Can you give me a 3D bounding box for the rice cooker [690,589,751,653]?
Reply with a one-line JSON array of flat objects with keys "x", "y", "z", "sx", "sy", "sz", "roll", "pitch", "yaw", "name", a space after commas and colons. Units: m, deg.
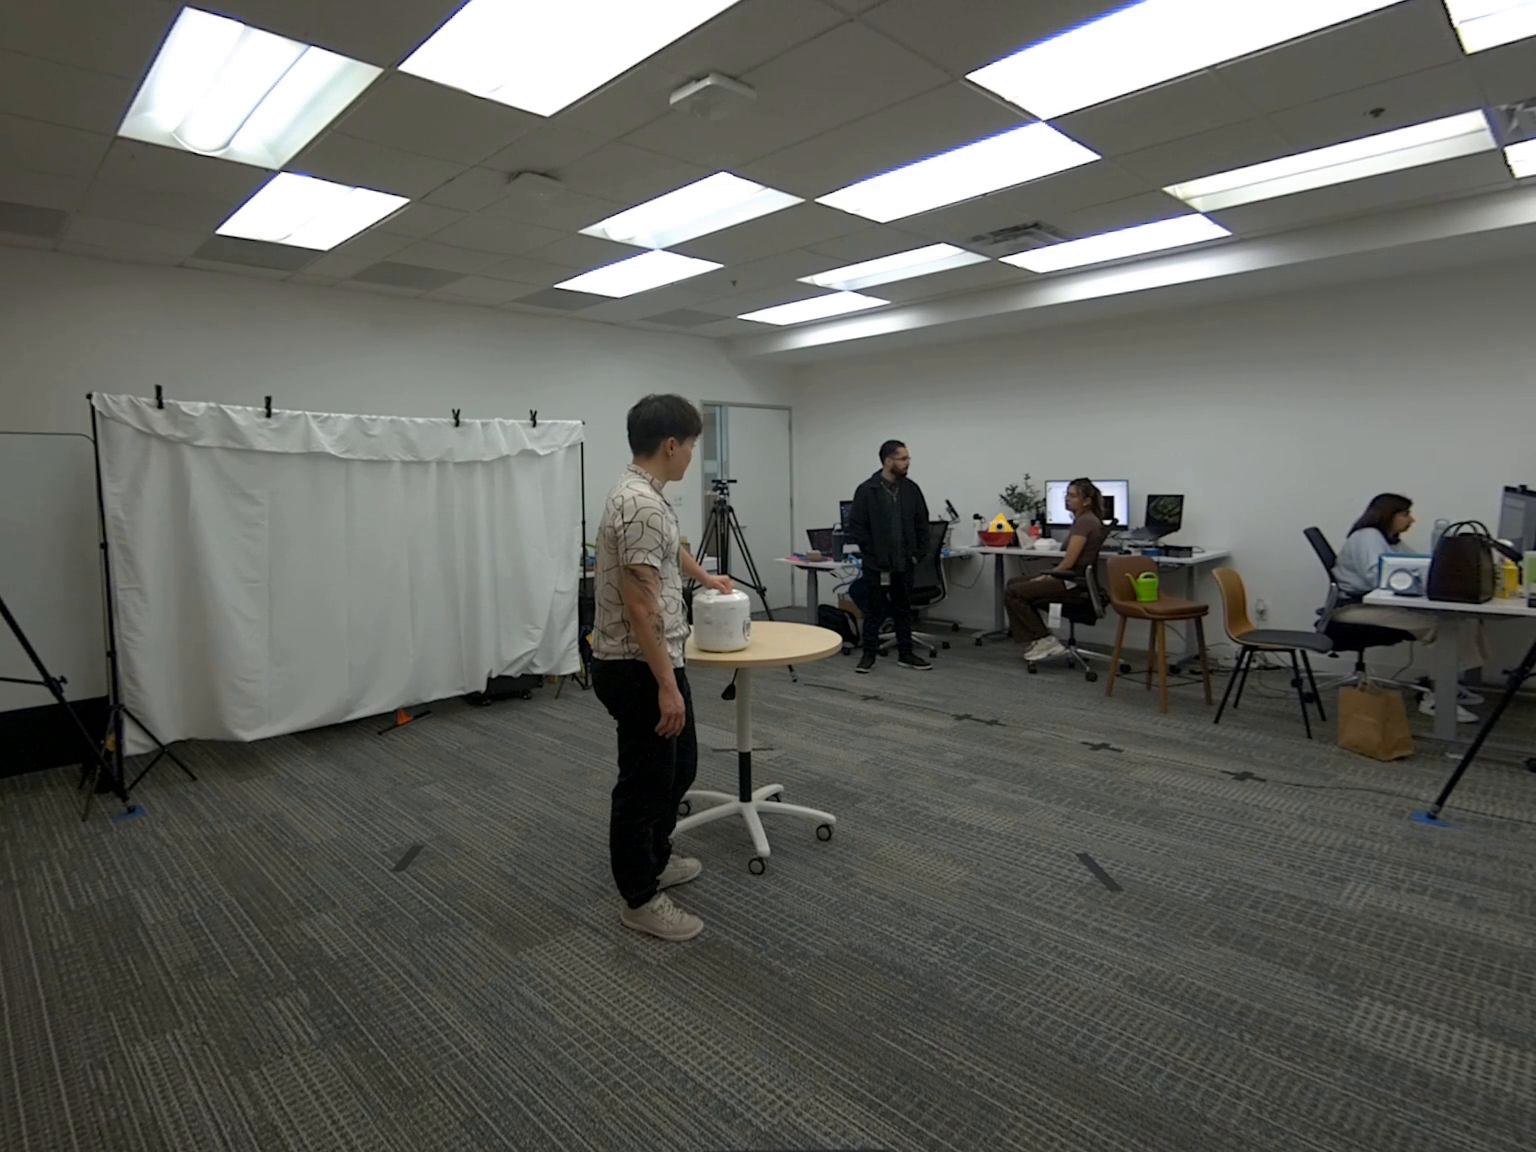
[{"x": -0.165, "y": 0.150, "z": 3.137, "sx": 0.222, "sy": 0.232, "sz": 0.216, "roll": 1, "pitch": 5, "yaw": 26, "name": "rice cooker"}]
